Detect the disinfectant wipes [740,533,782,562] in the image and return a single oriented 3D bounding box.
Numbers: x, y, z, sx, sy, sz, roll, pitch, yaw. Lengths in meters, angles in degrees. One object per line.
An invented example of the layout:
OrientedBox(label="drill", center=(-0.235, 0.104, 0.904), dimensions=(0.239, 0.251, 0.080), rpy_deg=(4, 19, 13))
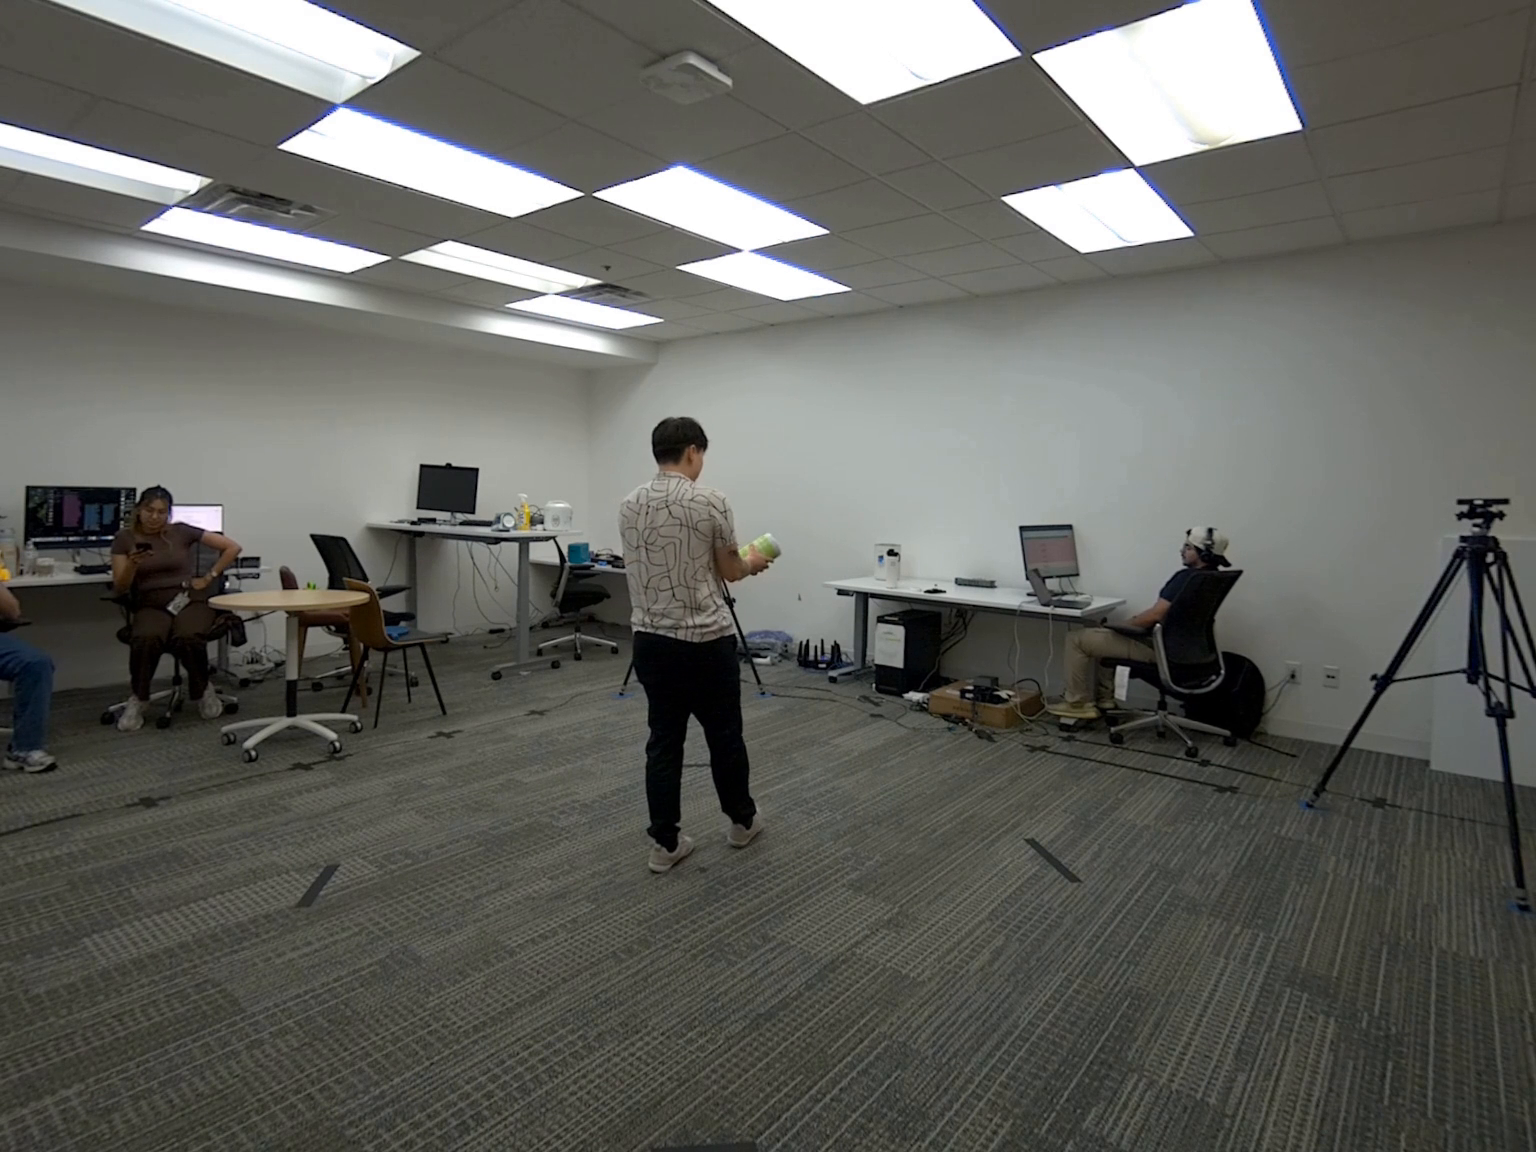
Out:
OrientedBox(label="disinfectant wipes", center=(-0.082, -0.089, 3.522), dimensions=(0.216, 0.116, 0.120), rpy_deg=(-26, 11, -14))
